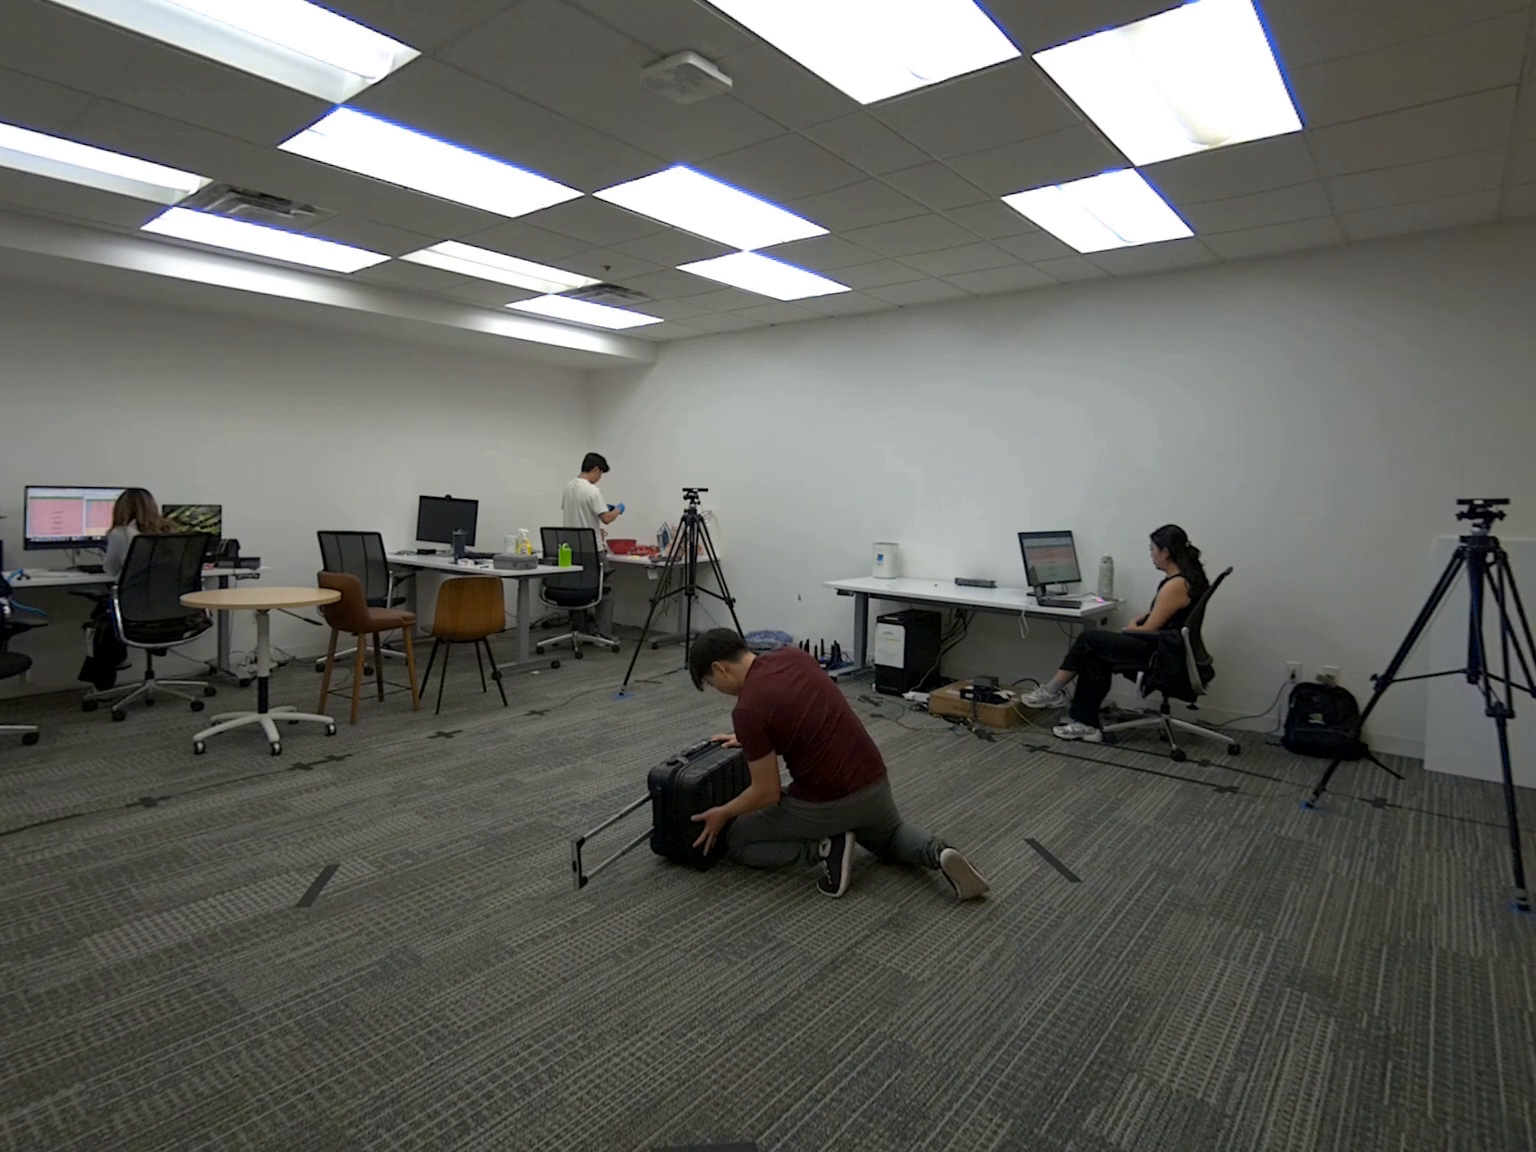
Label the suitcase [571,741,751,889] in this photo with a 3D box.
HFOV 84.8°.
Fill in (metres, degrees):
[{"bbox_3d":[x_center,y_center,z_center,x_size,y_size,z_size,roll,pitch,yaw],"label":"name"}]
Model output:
[{"bbox_3d":[-0.348,0.875,3.144,0.264,0.383,0.957,0,5,26],"label":"suitcase"}]
